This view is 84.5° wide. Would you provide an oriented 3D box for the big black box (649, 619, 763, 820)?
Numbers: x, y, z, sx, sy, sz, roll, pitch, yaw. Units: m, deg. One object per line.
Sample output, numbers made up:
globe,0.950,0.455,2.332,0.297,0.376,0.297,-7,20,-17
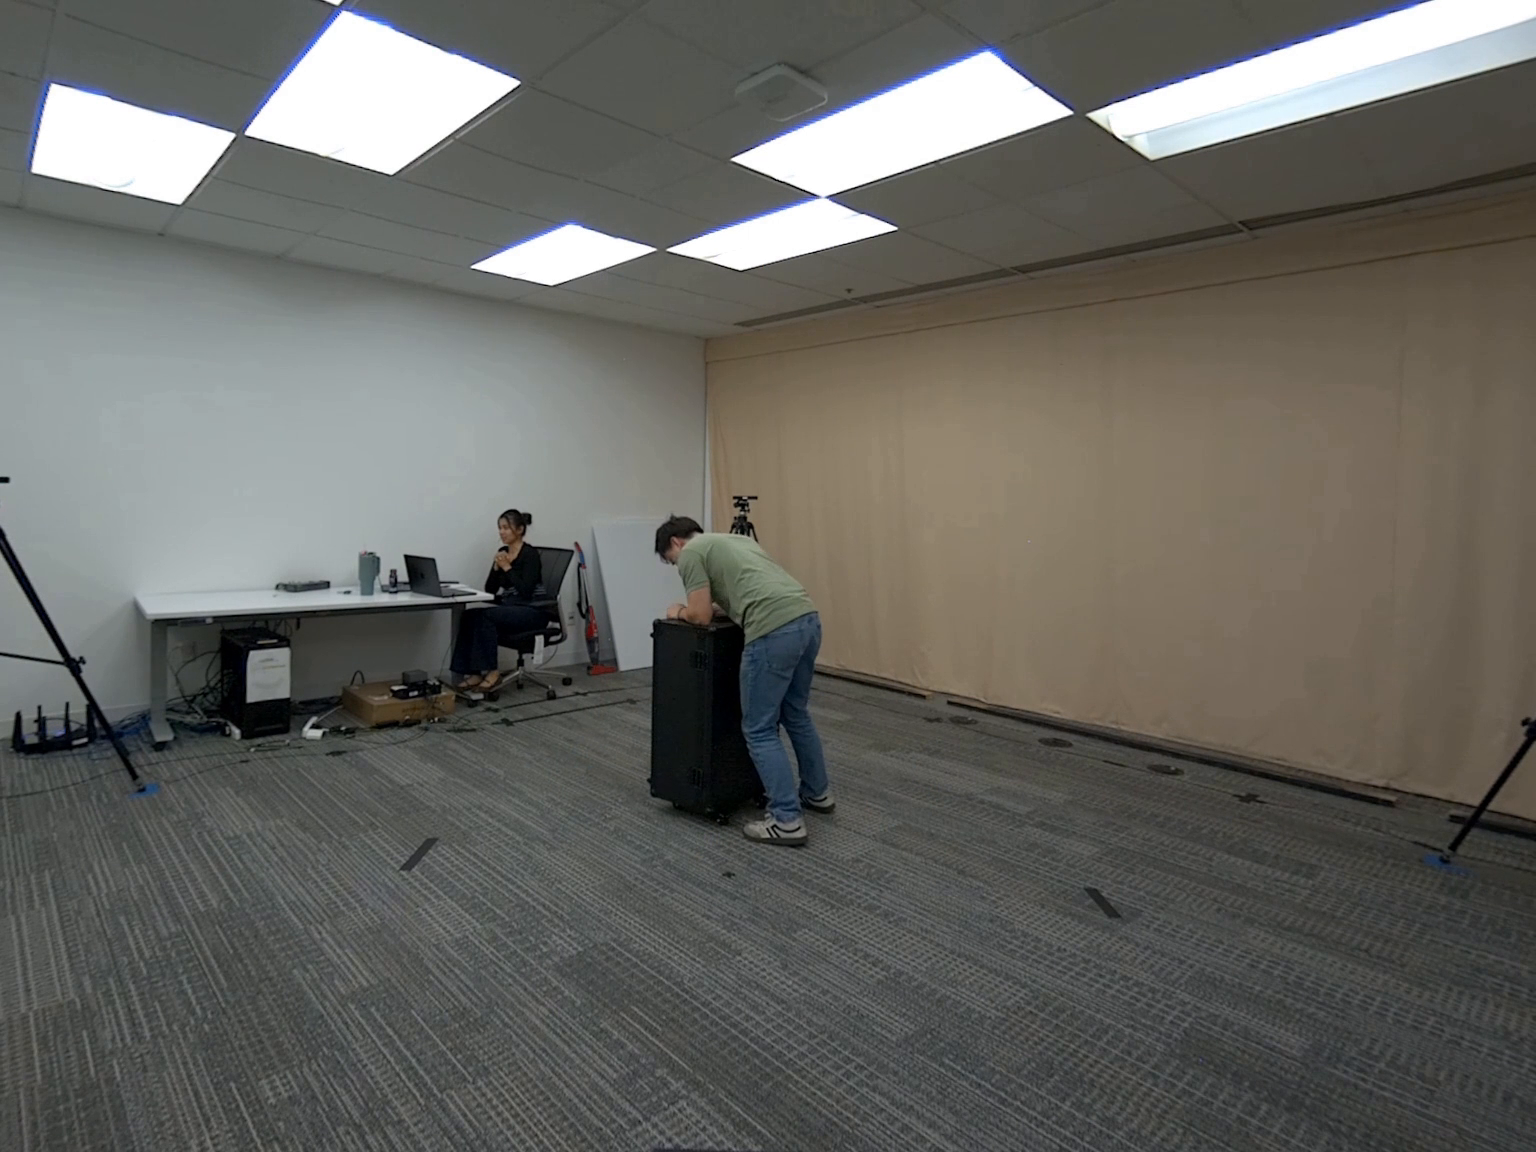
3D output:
big black box,-0.263,0.622,3.788,0.406,0.860,0.510,3,3,37
